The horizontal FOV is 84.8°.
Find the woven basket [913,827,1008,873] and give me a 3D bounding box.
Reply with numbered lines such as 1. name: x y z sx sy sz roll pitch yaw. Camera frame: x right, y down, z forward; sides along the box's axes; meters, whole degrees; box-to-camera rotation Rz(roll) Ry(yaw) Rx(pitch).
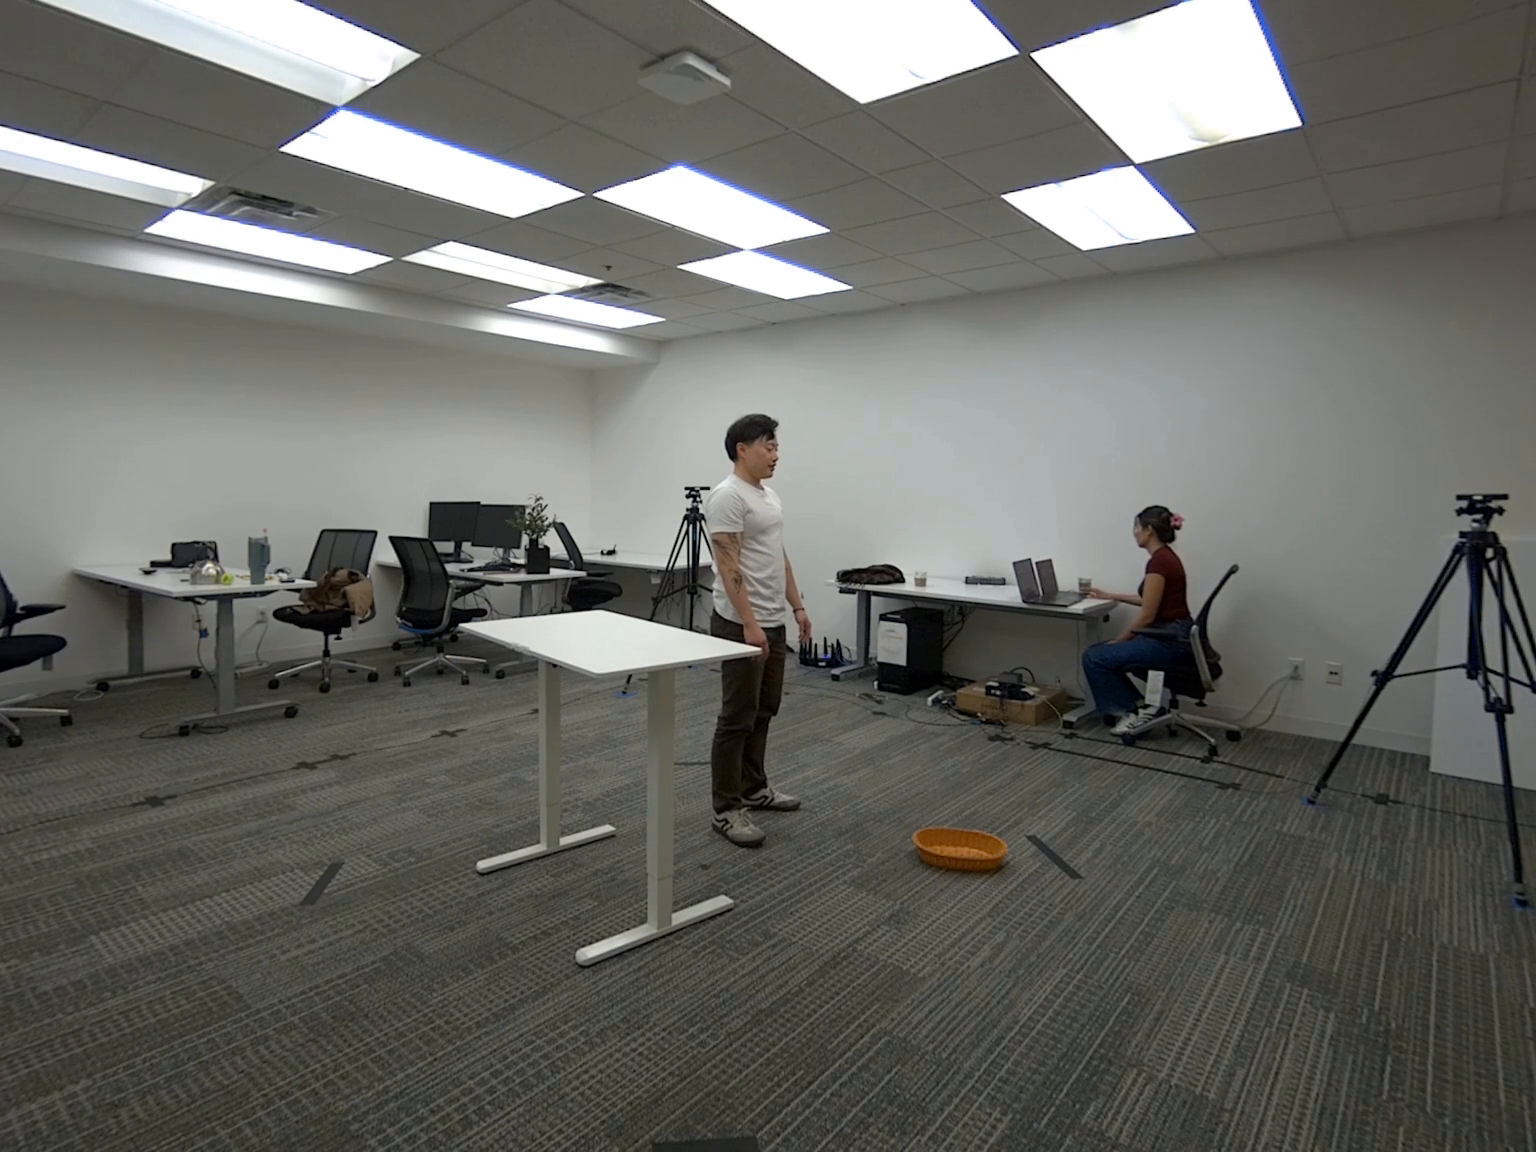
1. woven basket: 0.713 1.032 3.217 0.354 0.073 0.251 2 7 8
